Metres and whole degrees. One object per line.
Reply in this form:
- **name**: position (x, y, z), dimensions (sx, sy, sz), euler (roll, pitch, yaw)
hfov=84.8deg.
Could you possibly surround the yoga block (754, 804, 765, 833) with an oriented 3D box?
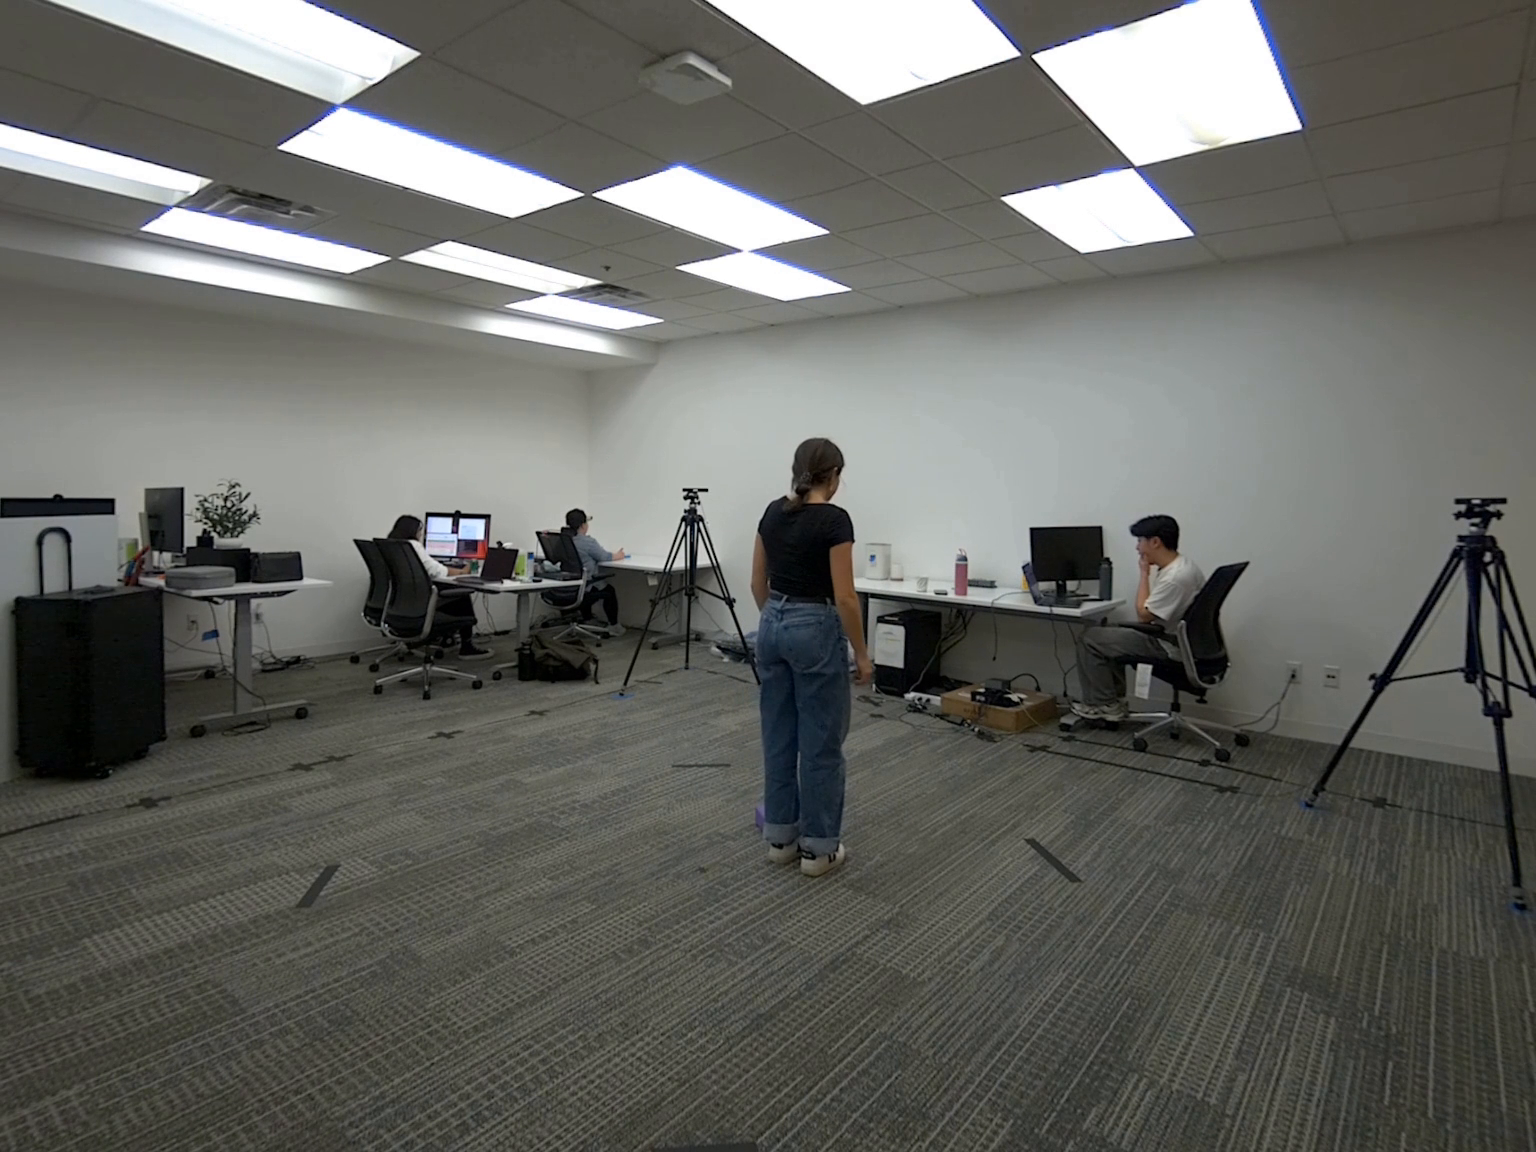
- **yoga block**: position (0.089, 0.982, 3.509), dimensions (0.226, 0.076, 0.152), euler (-2, 5, -14)
